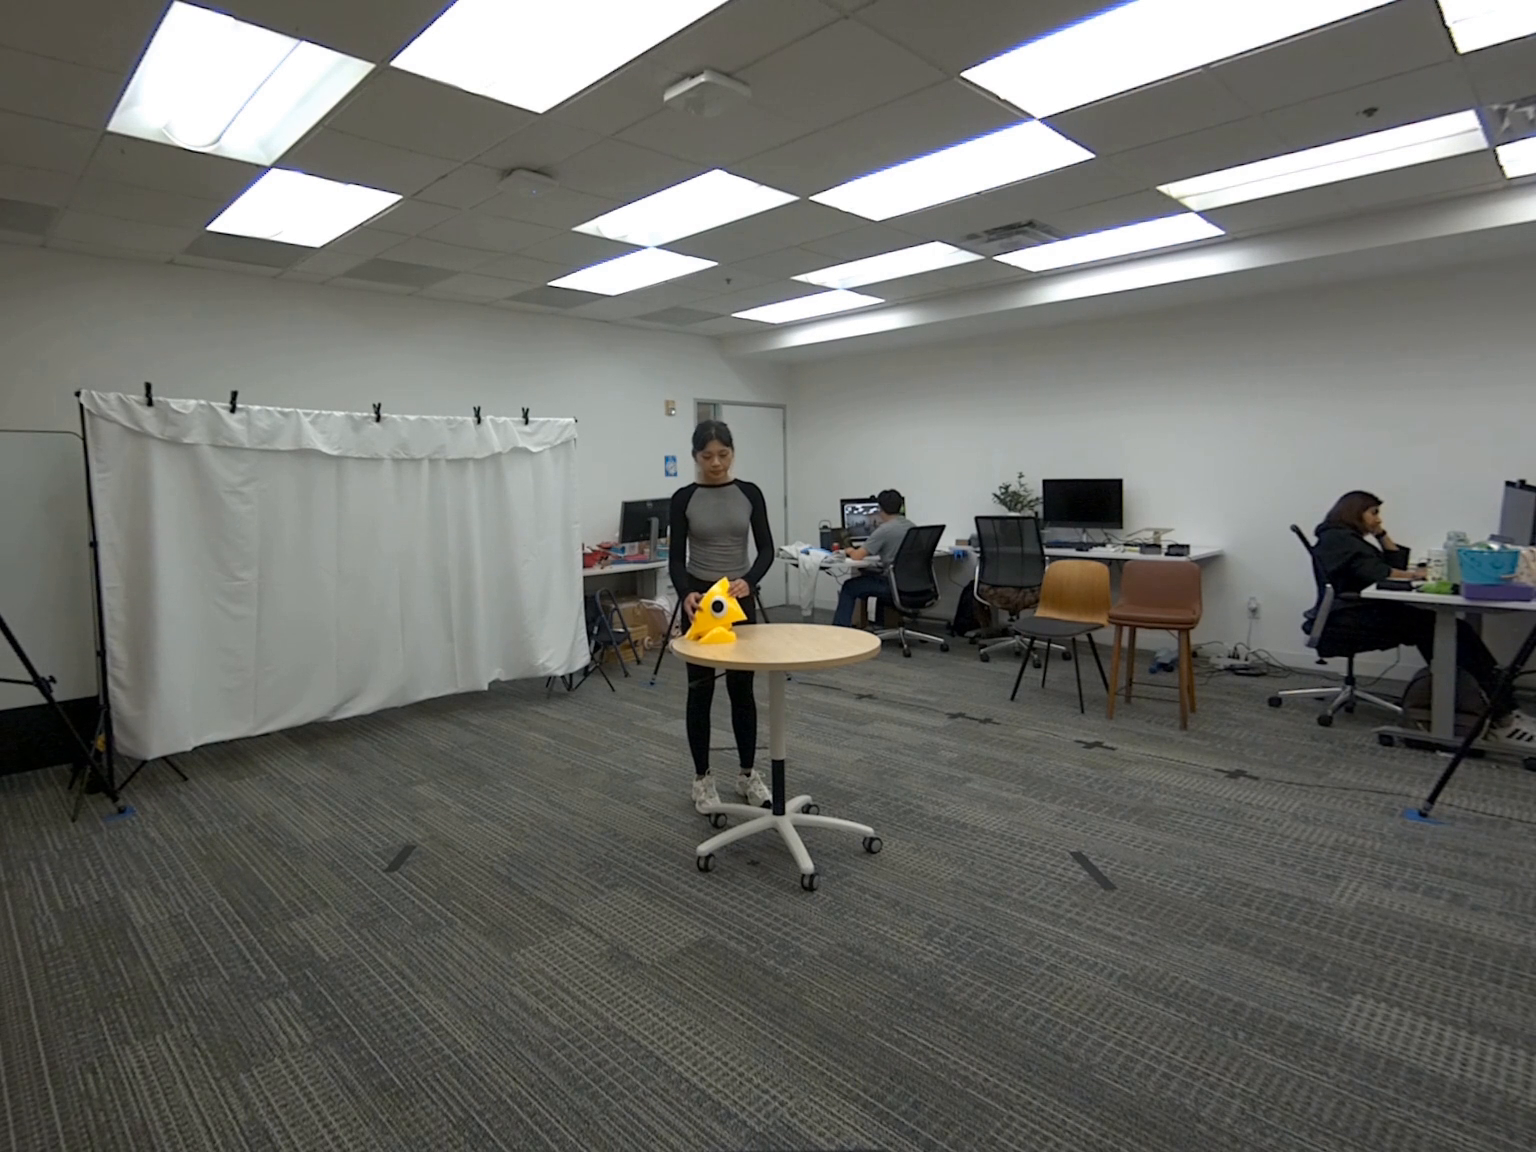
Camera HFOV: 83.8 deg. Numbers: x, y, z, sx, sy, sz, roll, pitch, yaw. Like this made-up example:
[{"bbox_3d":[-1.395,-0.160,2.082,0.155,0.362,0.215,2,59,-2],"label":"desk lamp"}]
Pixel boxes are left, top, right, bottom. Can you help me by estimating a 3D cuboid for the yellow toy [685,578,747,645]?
[{"bbox_3d":[-0.210,0.127,3.239,0.188,0.230,0.210,-5,6,-30],"label":"yellow toy"}]
